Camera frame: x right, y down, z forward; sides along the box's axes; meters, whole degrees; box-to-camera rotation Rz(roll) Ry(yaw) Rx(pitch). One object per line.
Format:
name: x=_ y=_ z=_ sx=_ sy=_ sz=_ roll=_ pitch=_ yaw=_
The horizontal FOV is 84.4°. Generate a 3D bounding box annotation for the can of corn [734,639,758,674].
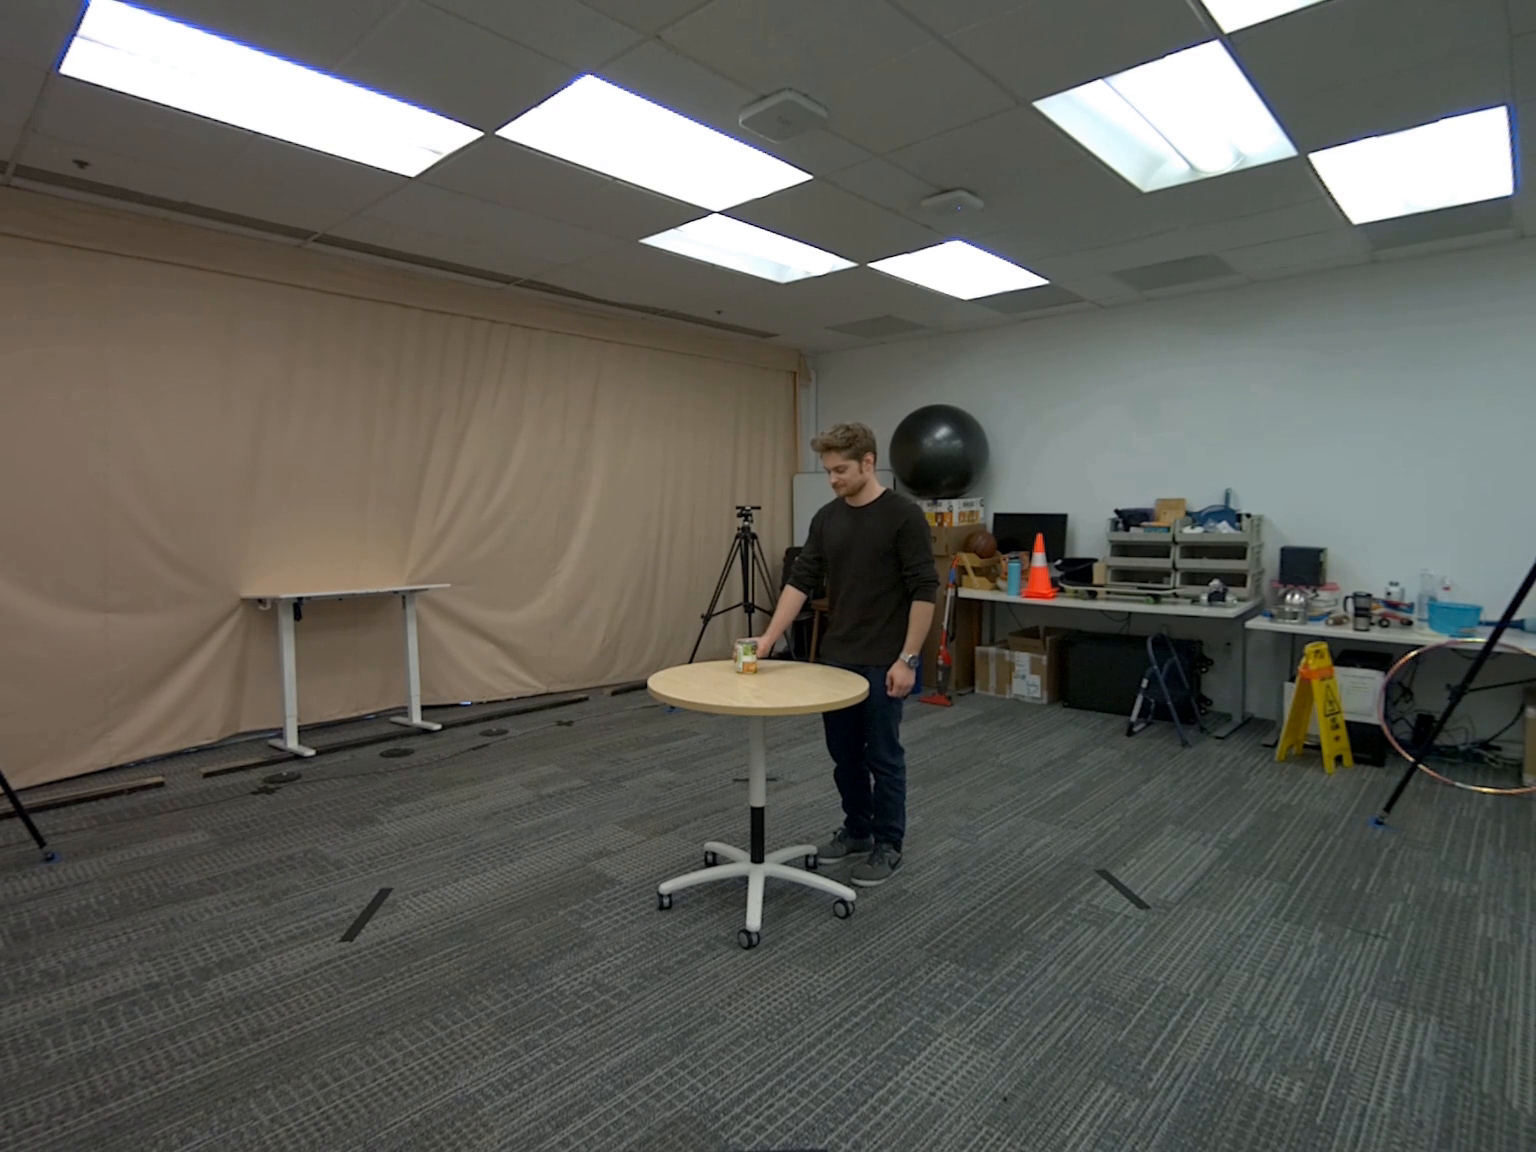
can of corn: x=-0.071 y=0.298 z=3.073 sx=0.074 sy=0.111 sz=0.074 roll=-1 pitch=2 yaw=-2
